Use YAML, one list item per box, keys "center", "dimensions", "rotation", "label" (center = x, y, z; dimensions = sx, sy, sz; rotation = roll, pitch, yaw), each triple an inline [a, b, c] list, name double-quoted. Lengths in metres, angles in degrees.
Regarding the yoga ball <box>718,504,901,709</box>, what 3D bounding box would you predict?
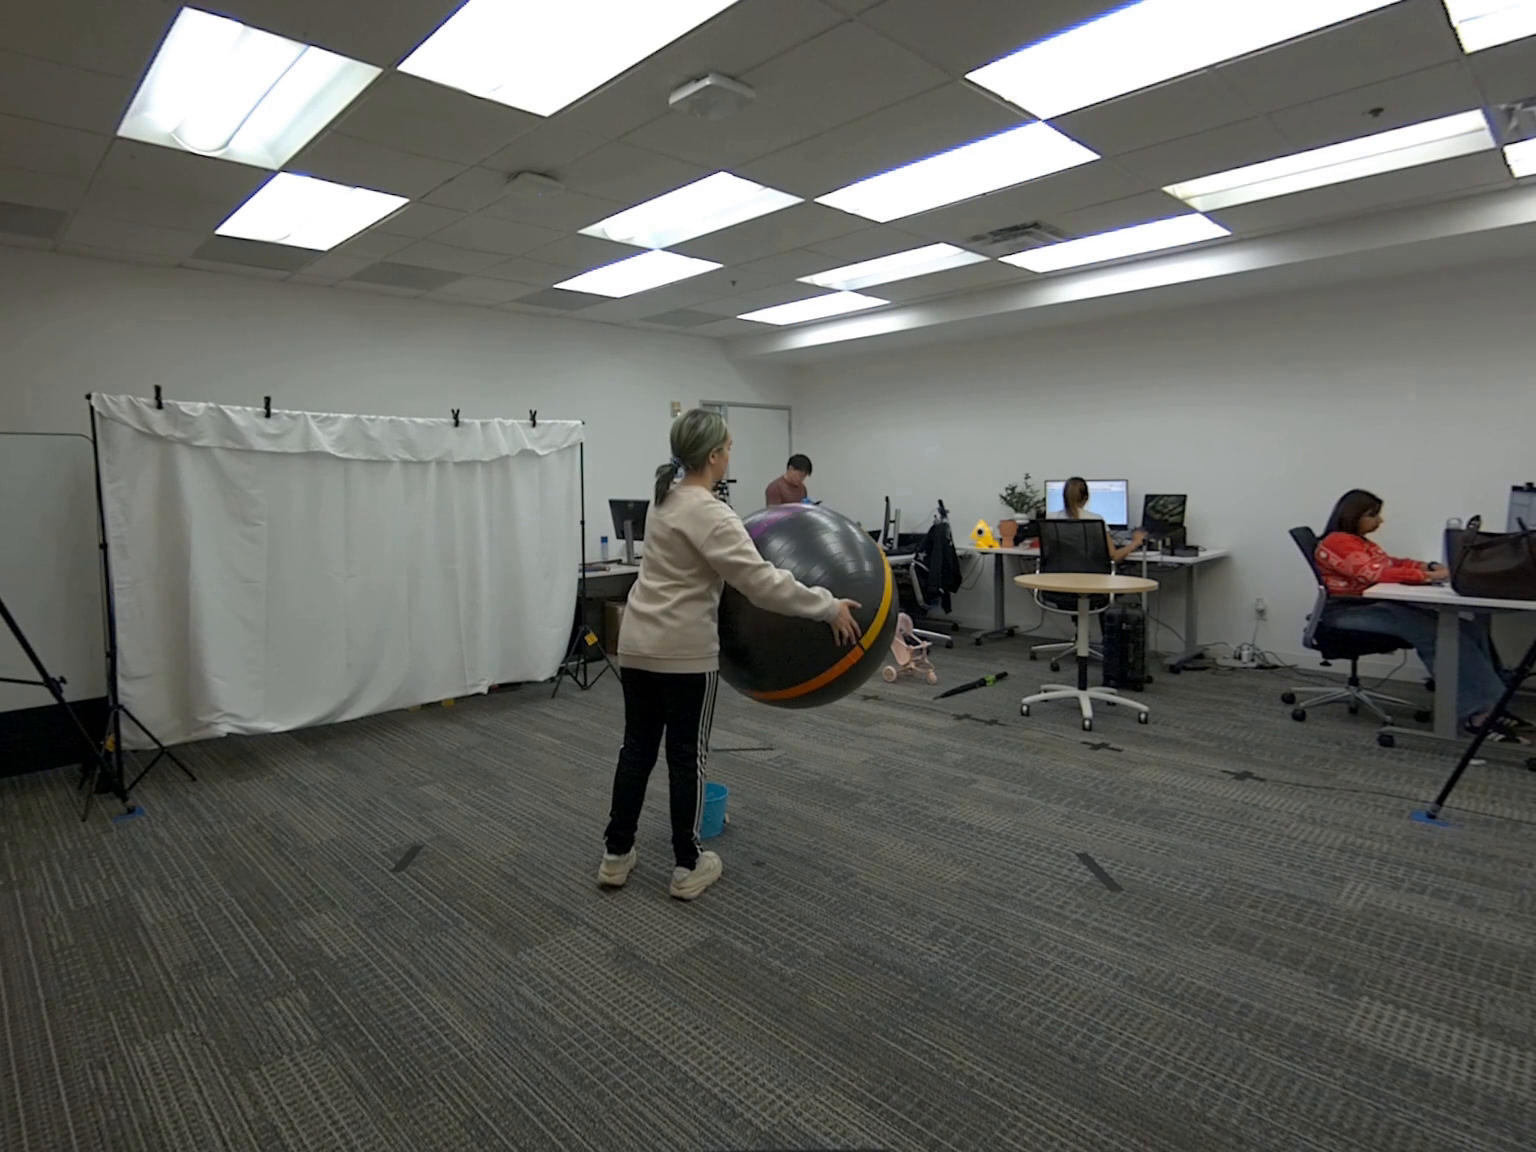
- center: [0.104, 0.109, 3.183]
  dimensions: [0.757, 0.755, 0.762]
  rotation: [-1, 5, -2]
  label: "yoga ball"
